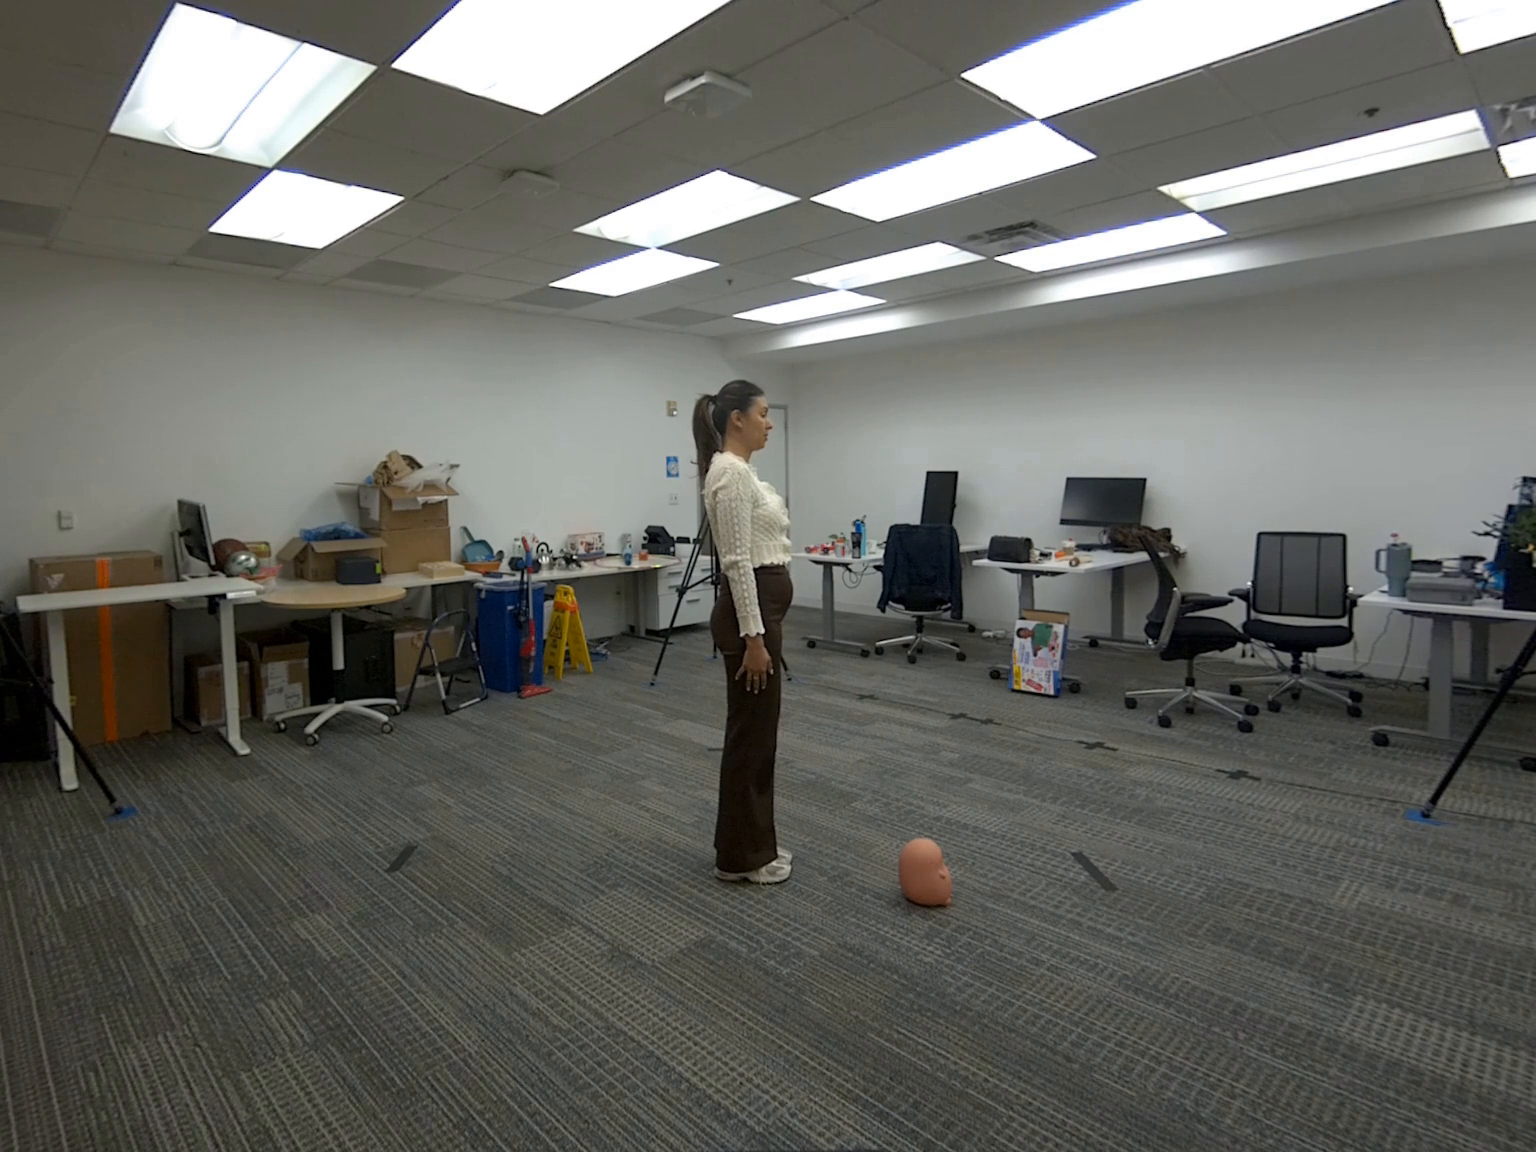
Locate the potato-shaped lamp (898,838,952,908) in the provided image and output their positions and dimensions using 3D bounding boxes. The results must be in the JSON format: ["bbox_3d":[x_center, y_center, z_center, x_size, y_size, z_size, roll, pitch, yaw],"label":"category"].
[{"bbox_3d":[0.522,0.963,2.811,0.172,0.197,0.165,-1,5,4],"label":"potato-shaped lamp"}]
